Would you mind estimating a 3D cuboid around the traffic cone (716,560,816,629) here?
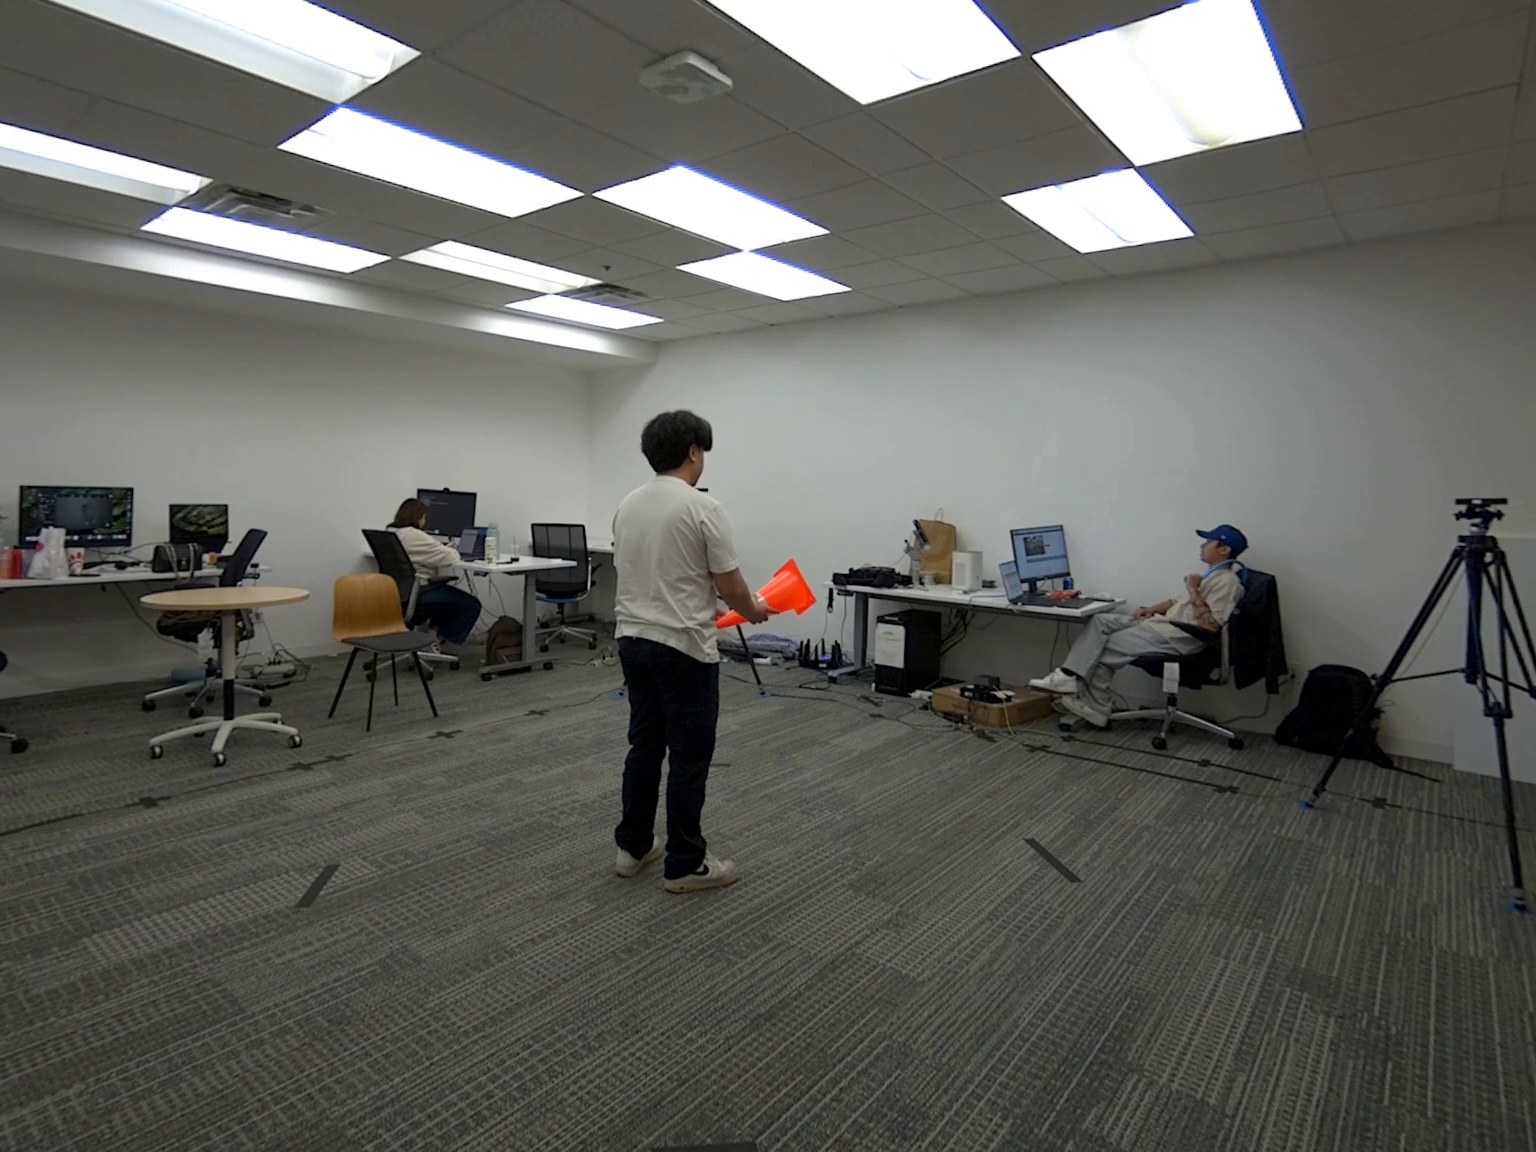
[{"bbox_3d":[-0.058,0.119,3.327,0.379,0.207,0.203,-25,-15,-22],"label":"traffic cone"}]
